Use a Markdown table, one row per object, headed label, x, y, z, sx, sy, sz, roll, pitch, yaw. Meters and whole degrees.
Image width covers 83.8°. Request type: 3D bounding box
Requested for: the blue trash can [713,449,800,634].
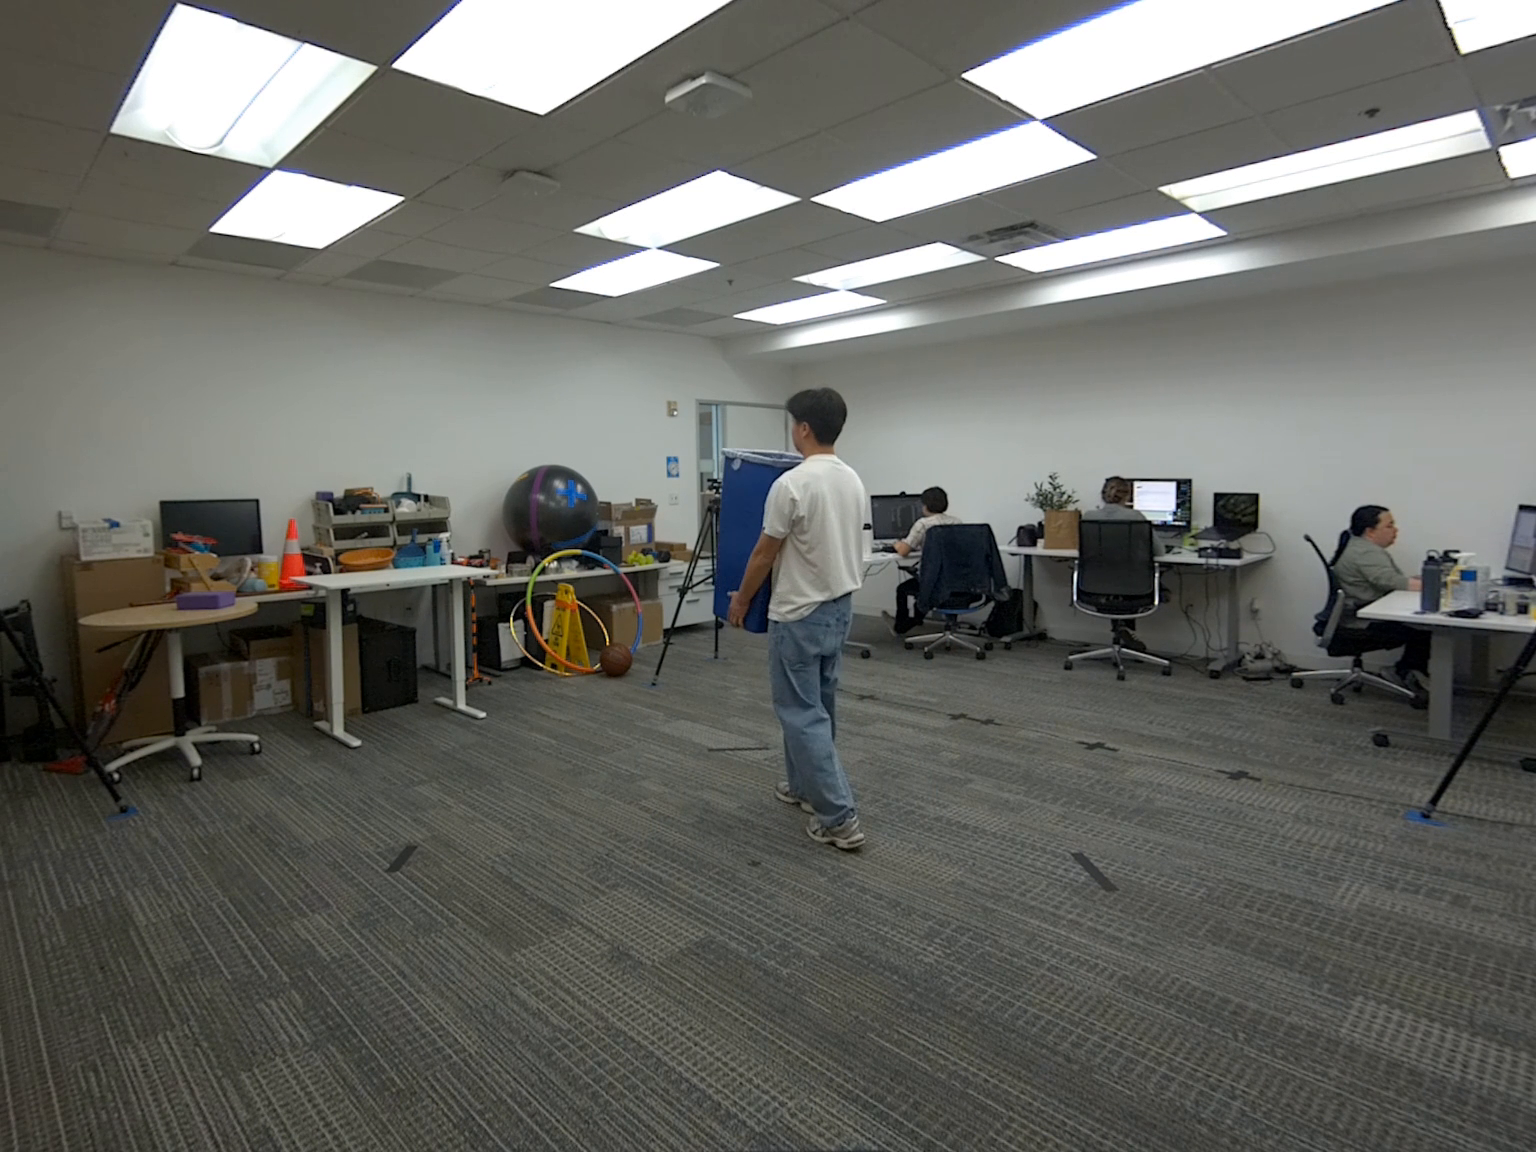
| label | x | y | z | sx | sy | sz | roll | pitch | yaw |
| --- | --- | --- | --- | --- | --- | --- | --- | --- | --- |
| blue trash can | 0.006 | -0.163 | 3.621 | 0.364 | 0.707 | 0.392 | -3 | 15 | -39 |
